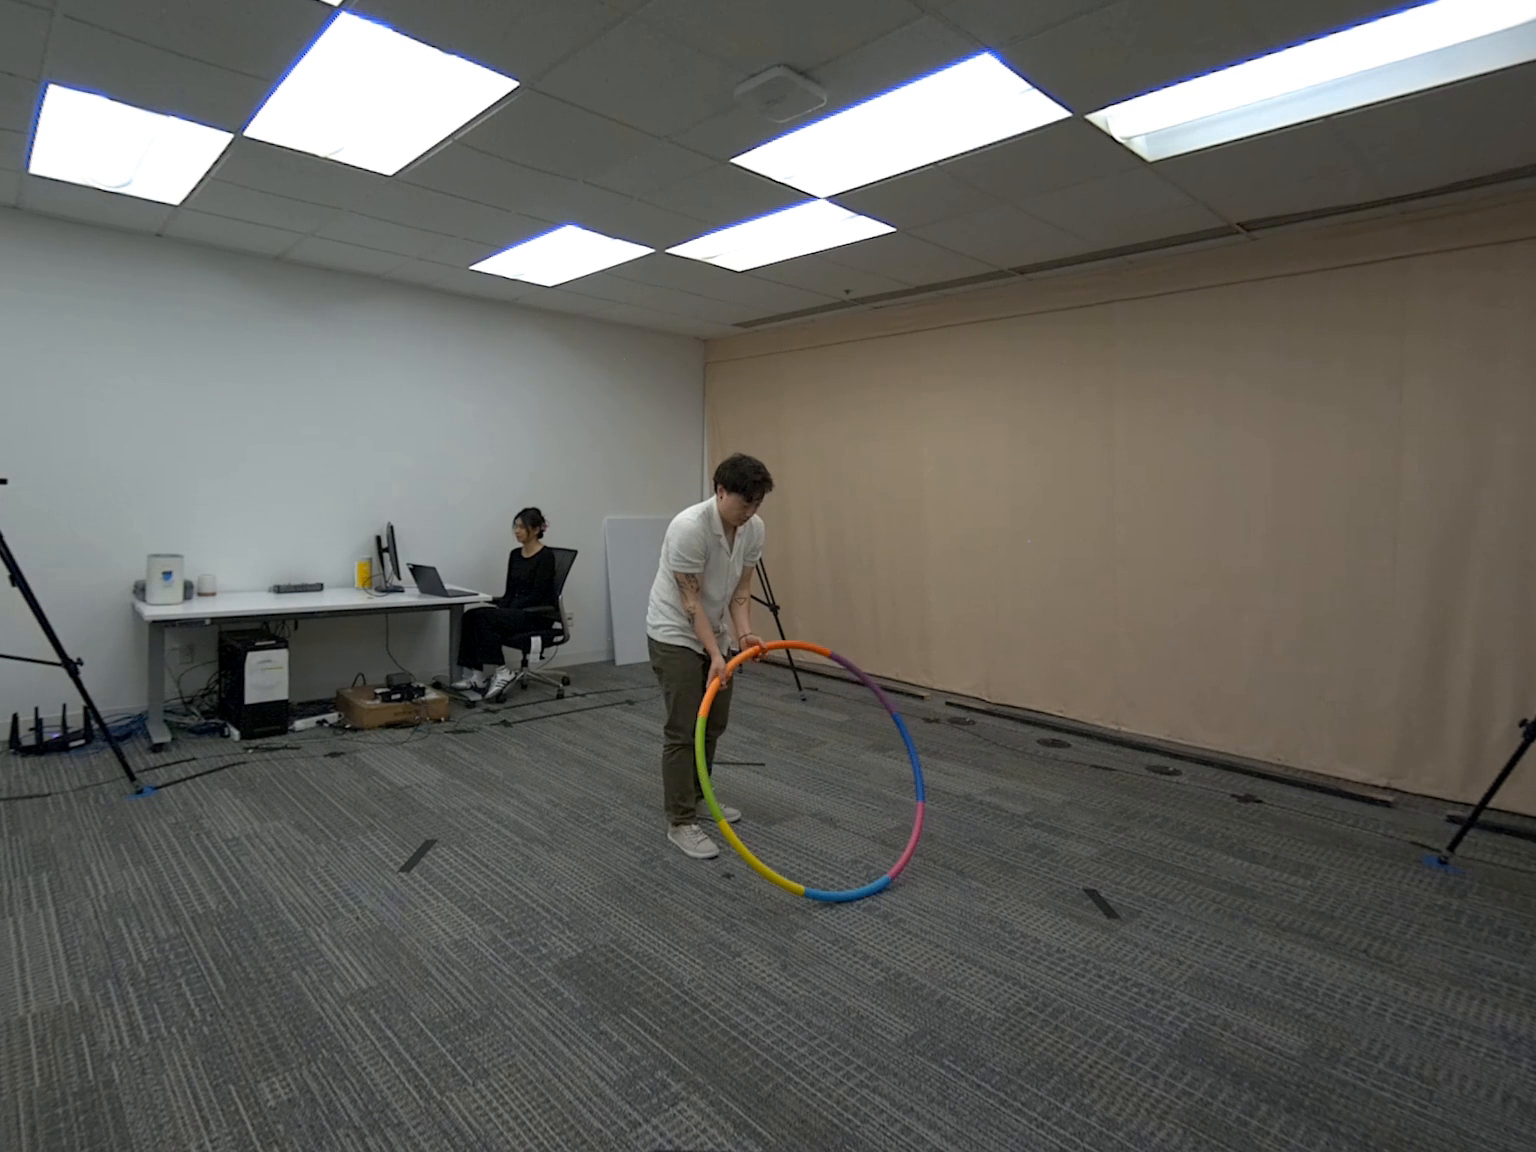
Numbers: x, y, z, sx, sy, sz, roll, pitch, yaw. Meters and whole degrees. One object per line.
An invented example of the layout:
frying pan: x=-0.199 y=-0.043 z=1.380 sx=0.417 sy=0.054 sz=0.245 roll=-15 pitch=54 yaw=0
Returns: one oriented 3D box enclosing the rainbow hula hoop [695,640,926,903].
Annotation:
rainbow hula hoop: x=0.182 y=0.692 z=3.144 sx=0.958 sy=1.001 sz=0.035 roll=-2 pitch=-31 yaw=-32
